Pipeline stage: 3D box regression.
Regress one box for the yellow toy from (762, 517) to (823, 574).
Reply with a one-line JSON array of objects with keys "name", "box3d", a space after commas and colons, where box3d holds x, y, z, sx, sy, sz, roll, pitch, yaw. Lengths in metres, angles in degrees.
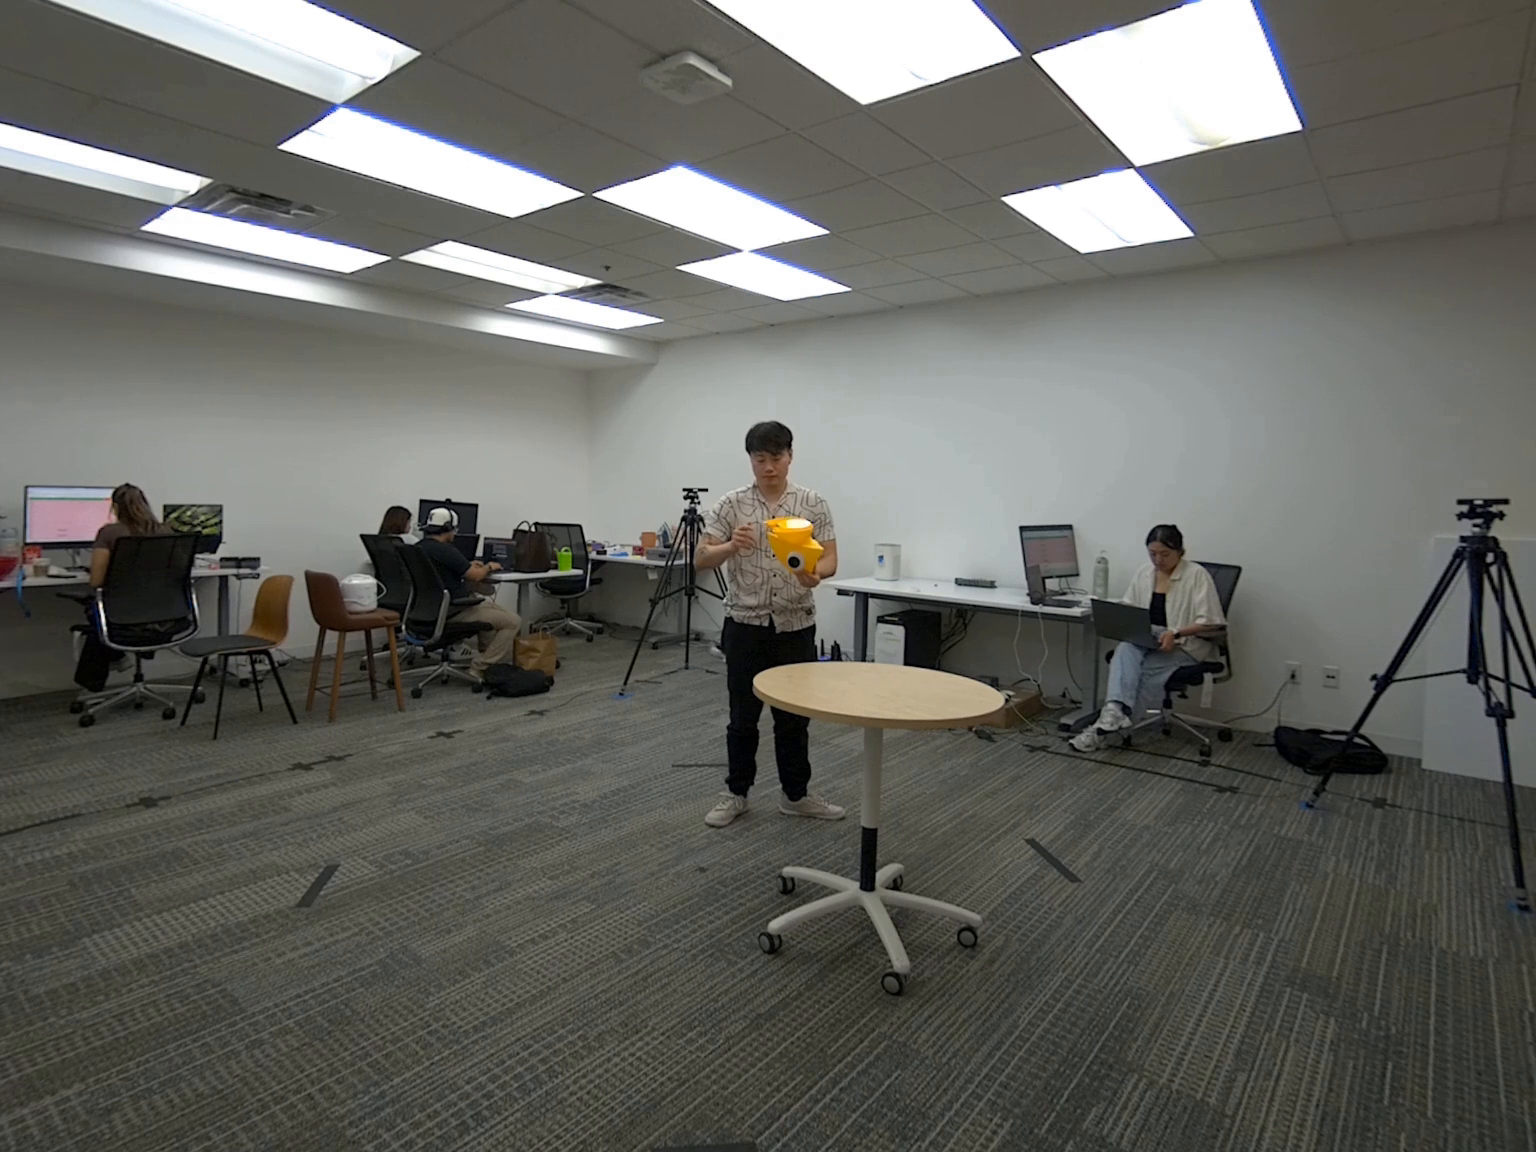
[{"name": "yellow toy", "box3d": [0.079, -0.085, 3.215, 0.191, 0.227, 0.210, -8, 17, -9]}]
